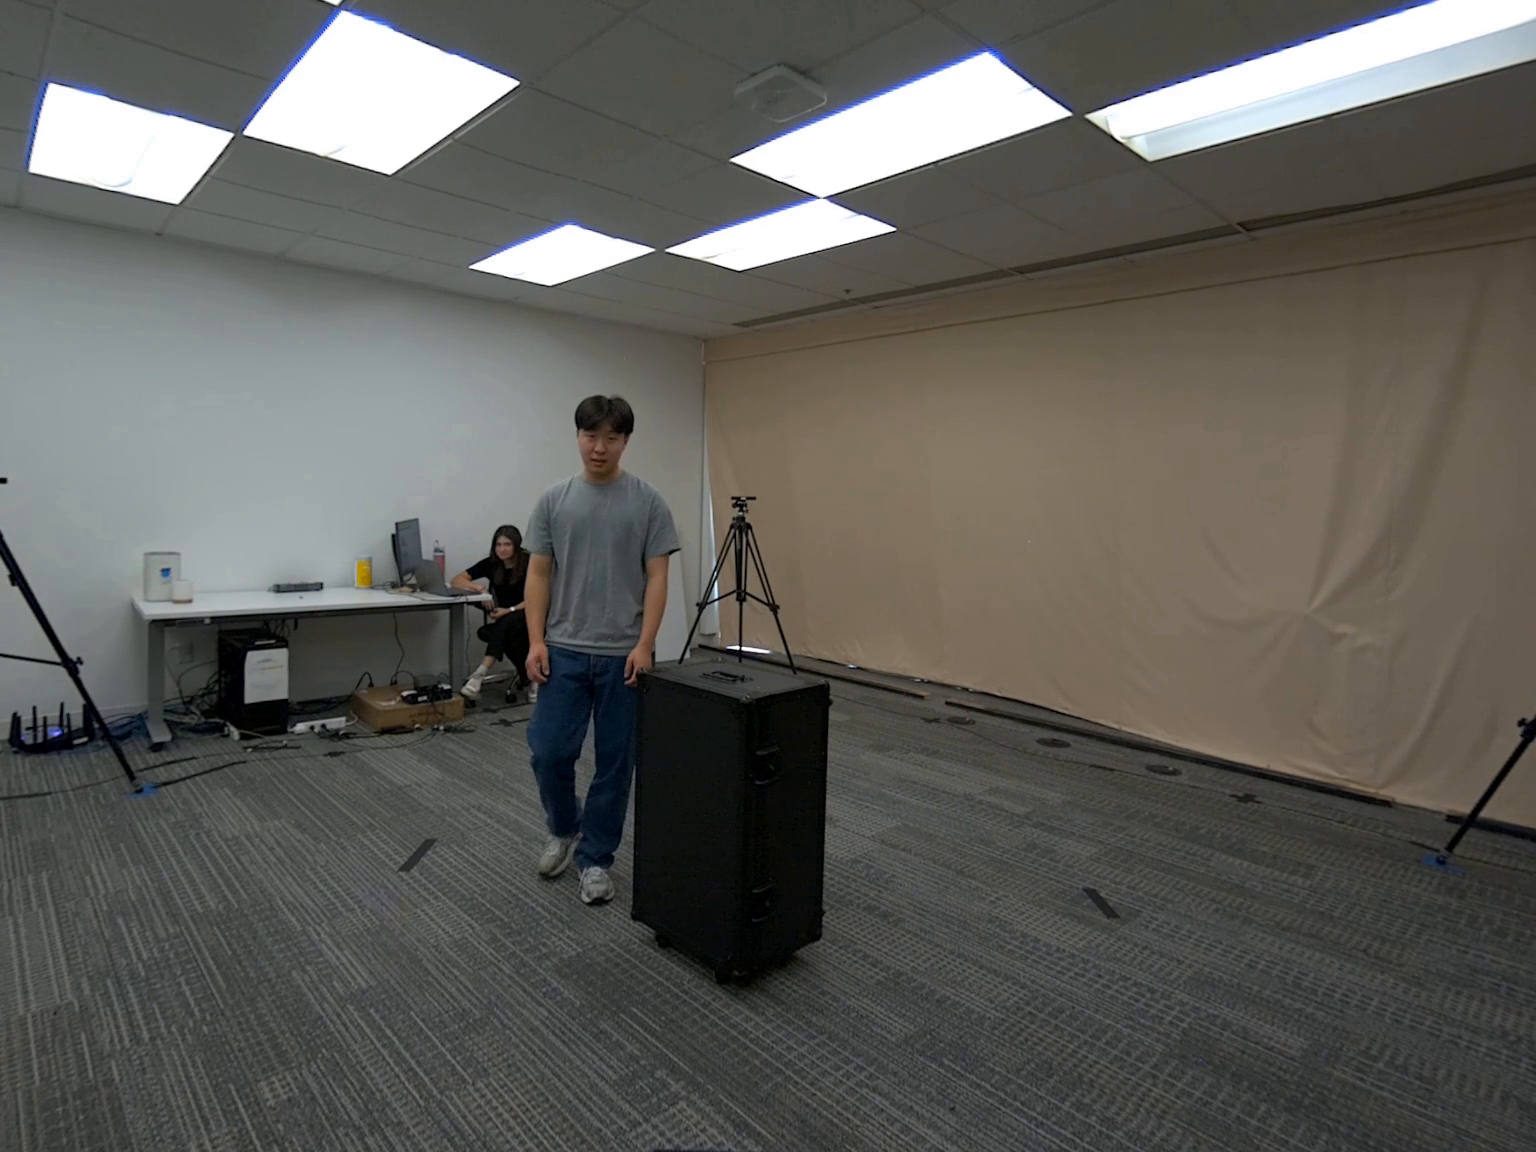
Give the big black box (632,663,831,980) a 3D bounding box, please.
[{"bbox_3d":[-0.121,0.729,2.570,0.535,0.859,0.387,5,4,44],"label":"big black box"}]
